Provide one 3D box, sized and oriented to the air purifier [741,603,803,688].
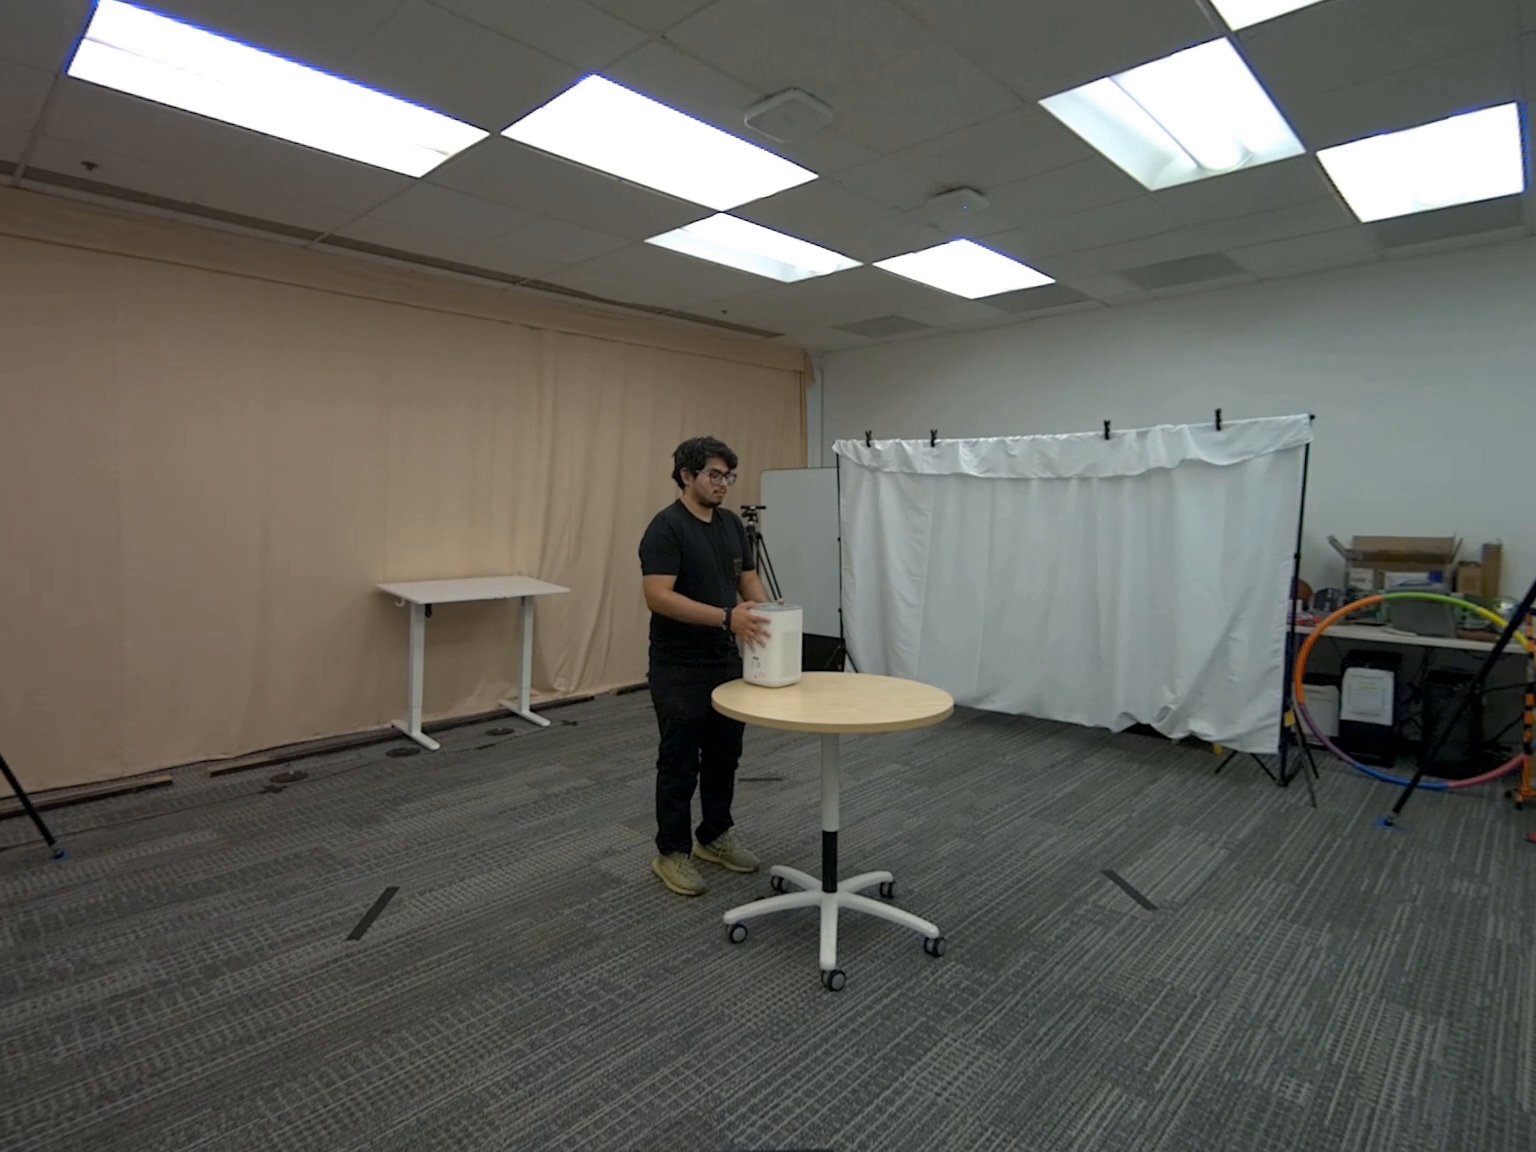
[{"bbox_3d":[0.016,0.235,2.881,0.177,0.265,0.166,3,4,42],"label":"air purifier"}]
